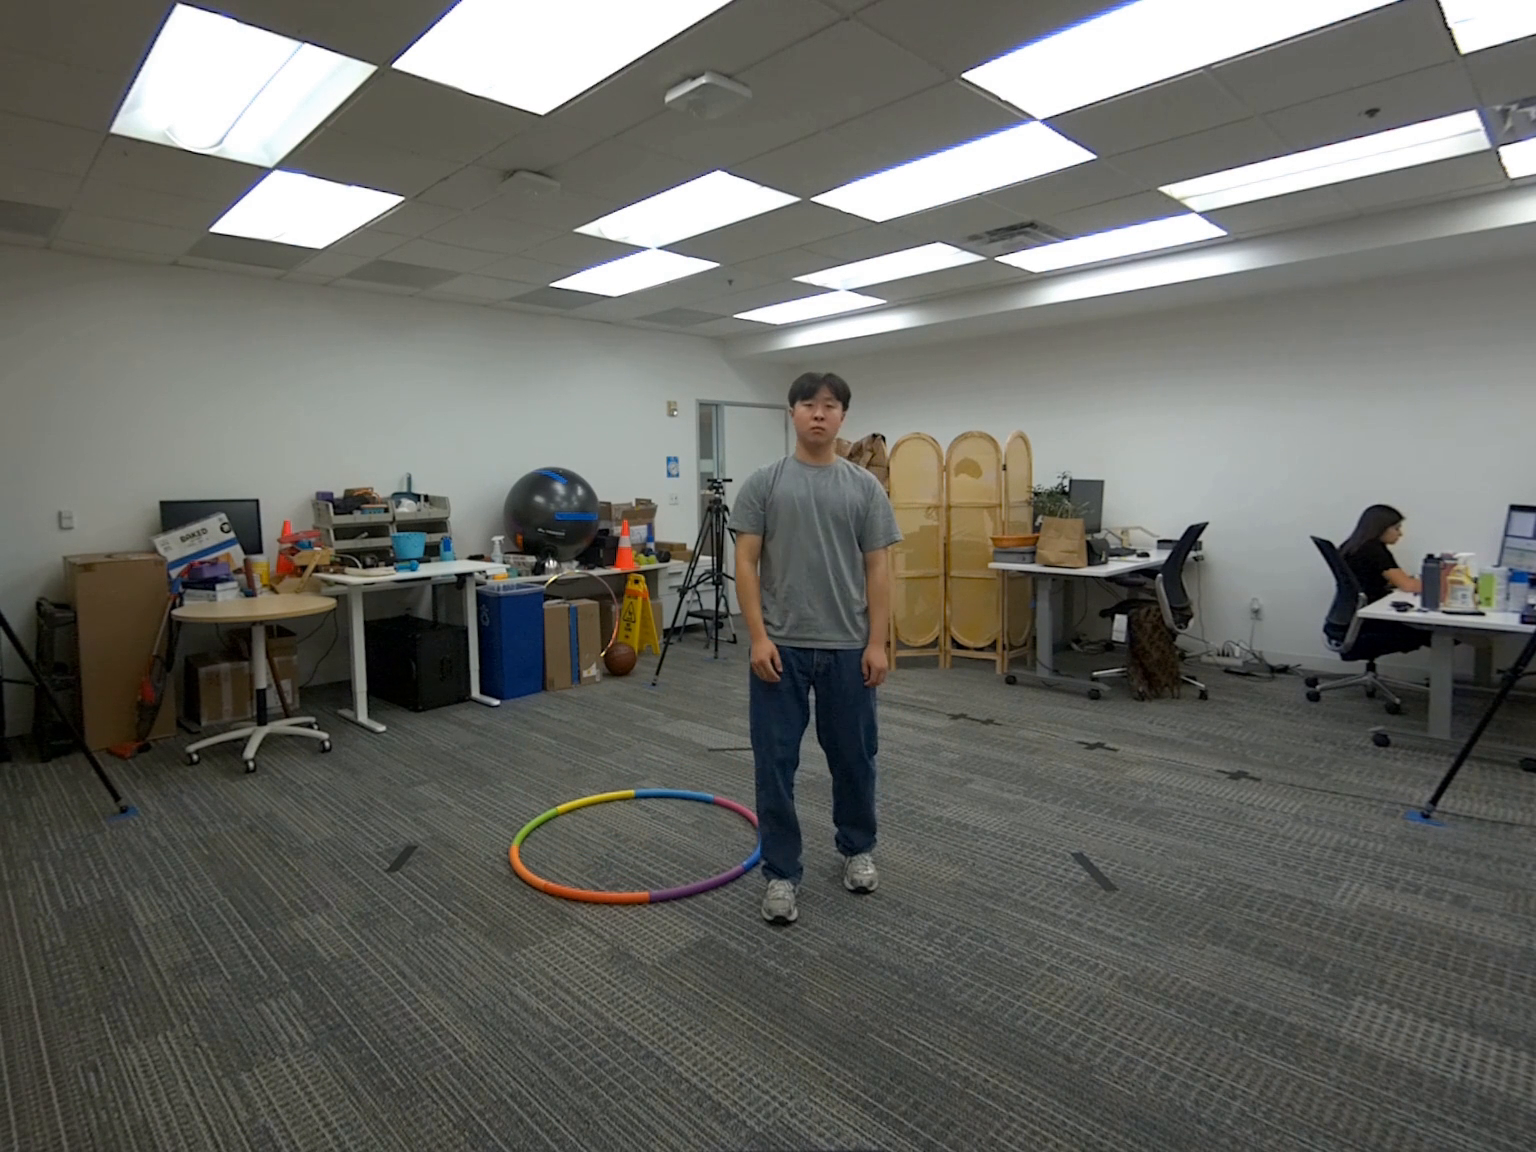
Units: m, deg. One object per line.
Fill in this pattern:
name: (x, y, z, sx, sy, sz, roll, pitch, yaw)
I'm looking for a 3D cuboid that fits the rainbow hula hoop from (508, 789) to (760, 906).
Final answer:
rainbow hula hoop: (-0.489, 0.998, 3.303, 0.978, 0.035, 0.984, -1, 7, -2)
